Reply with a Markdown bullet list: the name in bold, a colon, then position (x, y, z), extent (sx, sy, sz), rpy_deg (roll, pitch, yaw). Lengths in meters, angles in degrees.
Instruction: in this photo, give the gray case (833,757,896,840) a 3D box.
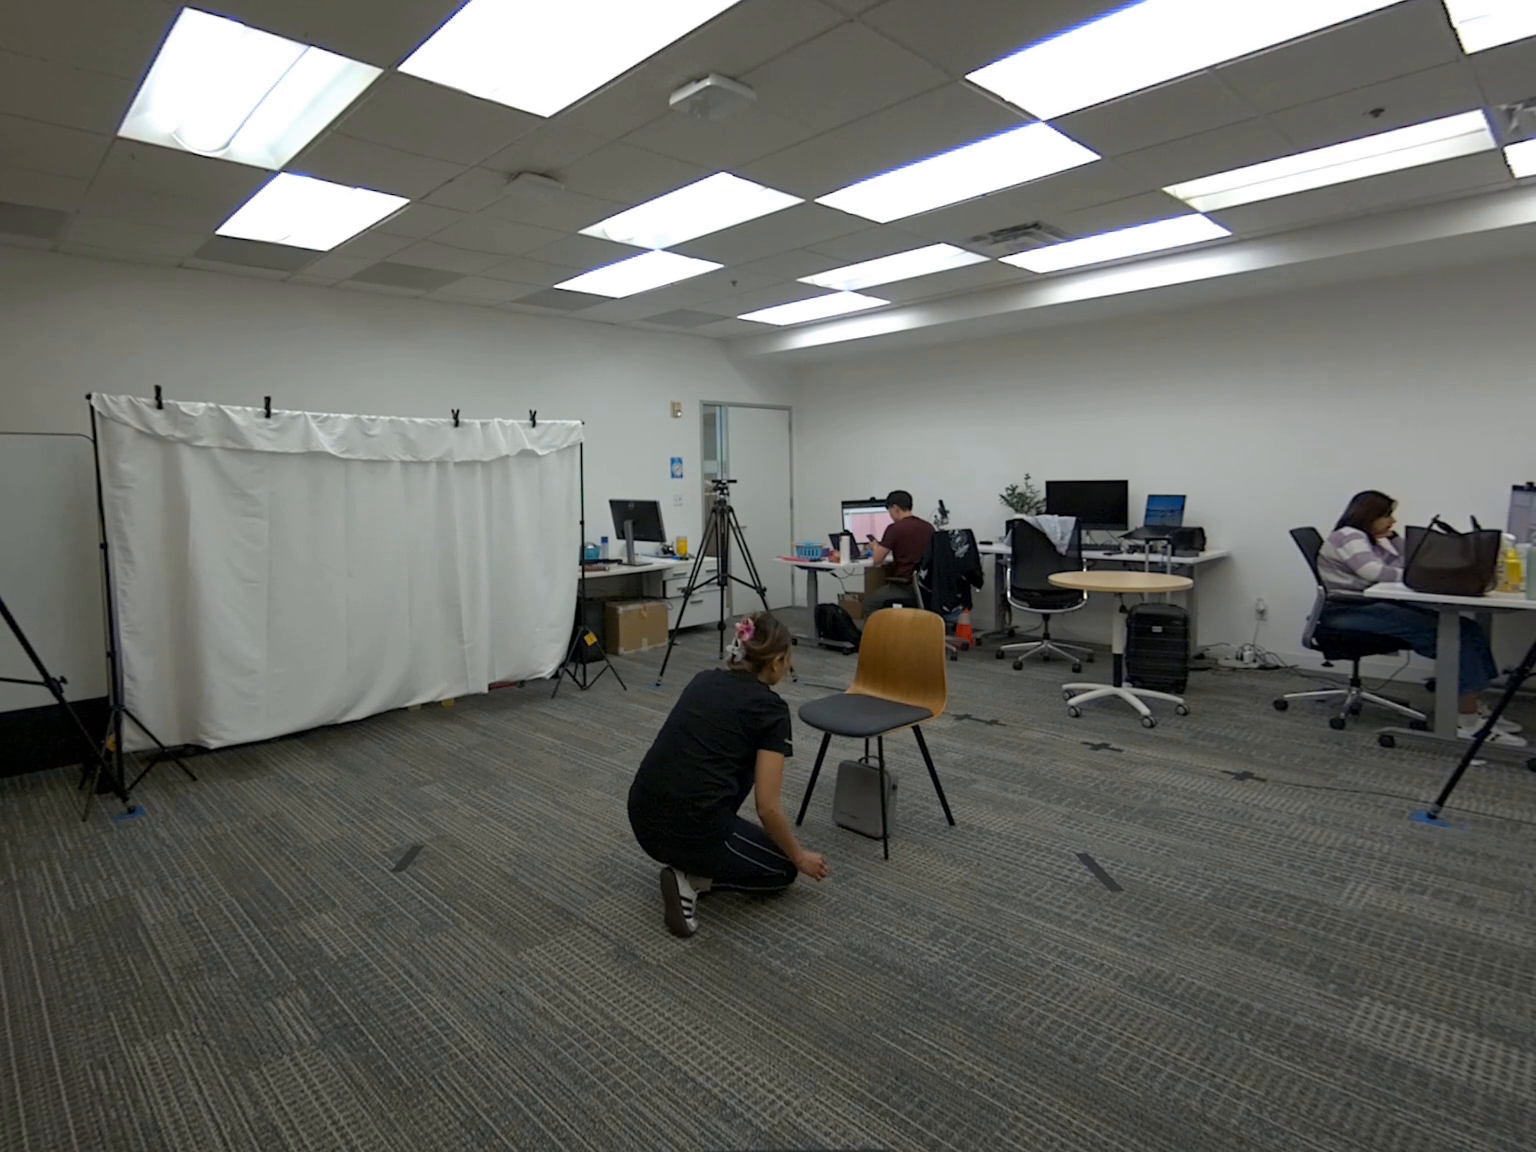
- **gray case**: position (0.387, 0.879, 3.398), extent (0.101, 0.261, 0.265), rpy_deg (9, -3, -41)
